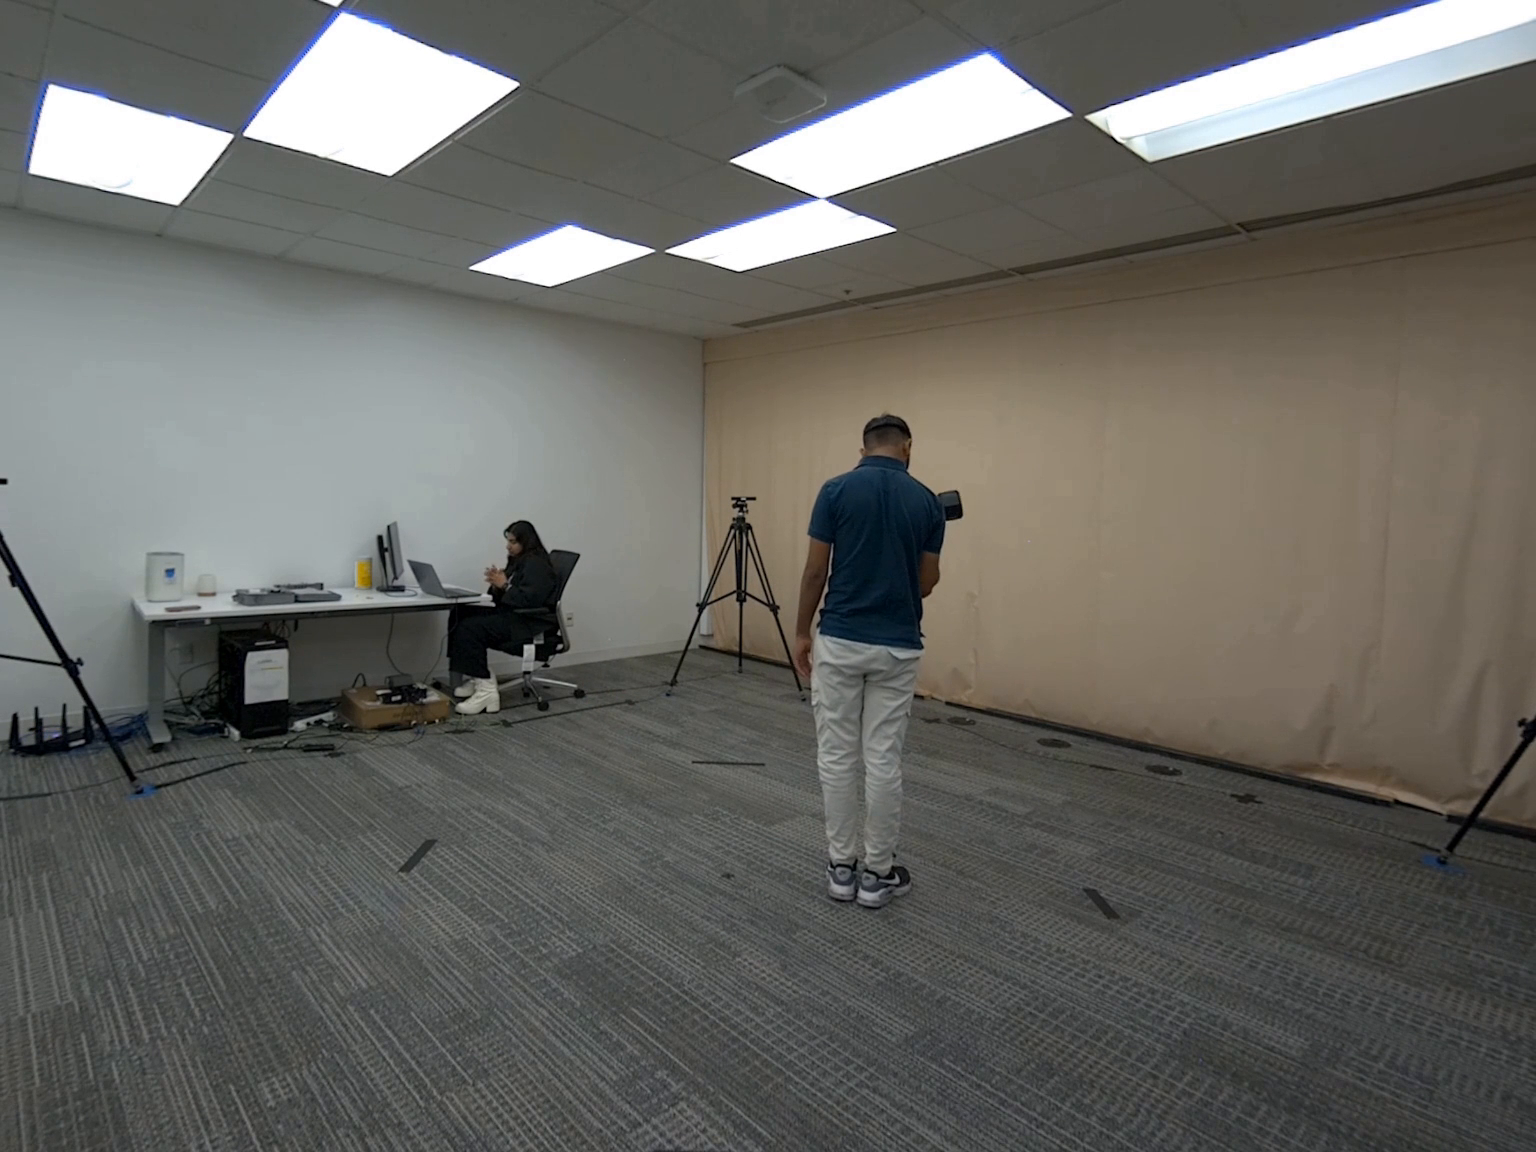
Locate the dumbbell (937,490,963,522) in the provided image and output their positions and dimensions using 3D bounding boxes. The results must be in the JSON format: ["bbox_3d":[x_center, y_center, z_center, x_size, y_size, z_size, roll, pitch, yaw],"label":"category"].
[{"bbox_3d":[0.575,-0.227,3.117,0.295,0.120,0.111,-11,30,8],"label":"dumbbell"}]
